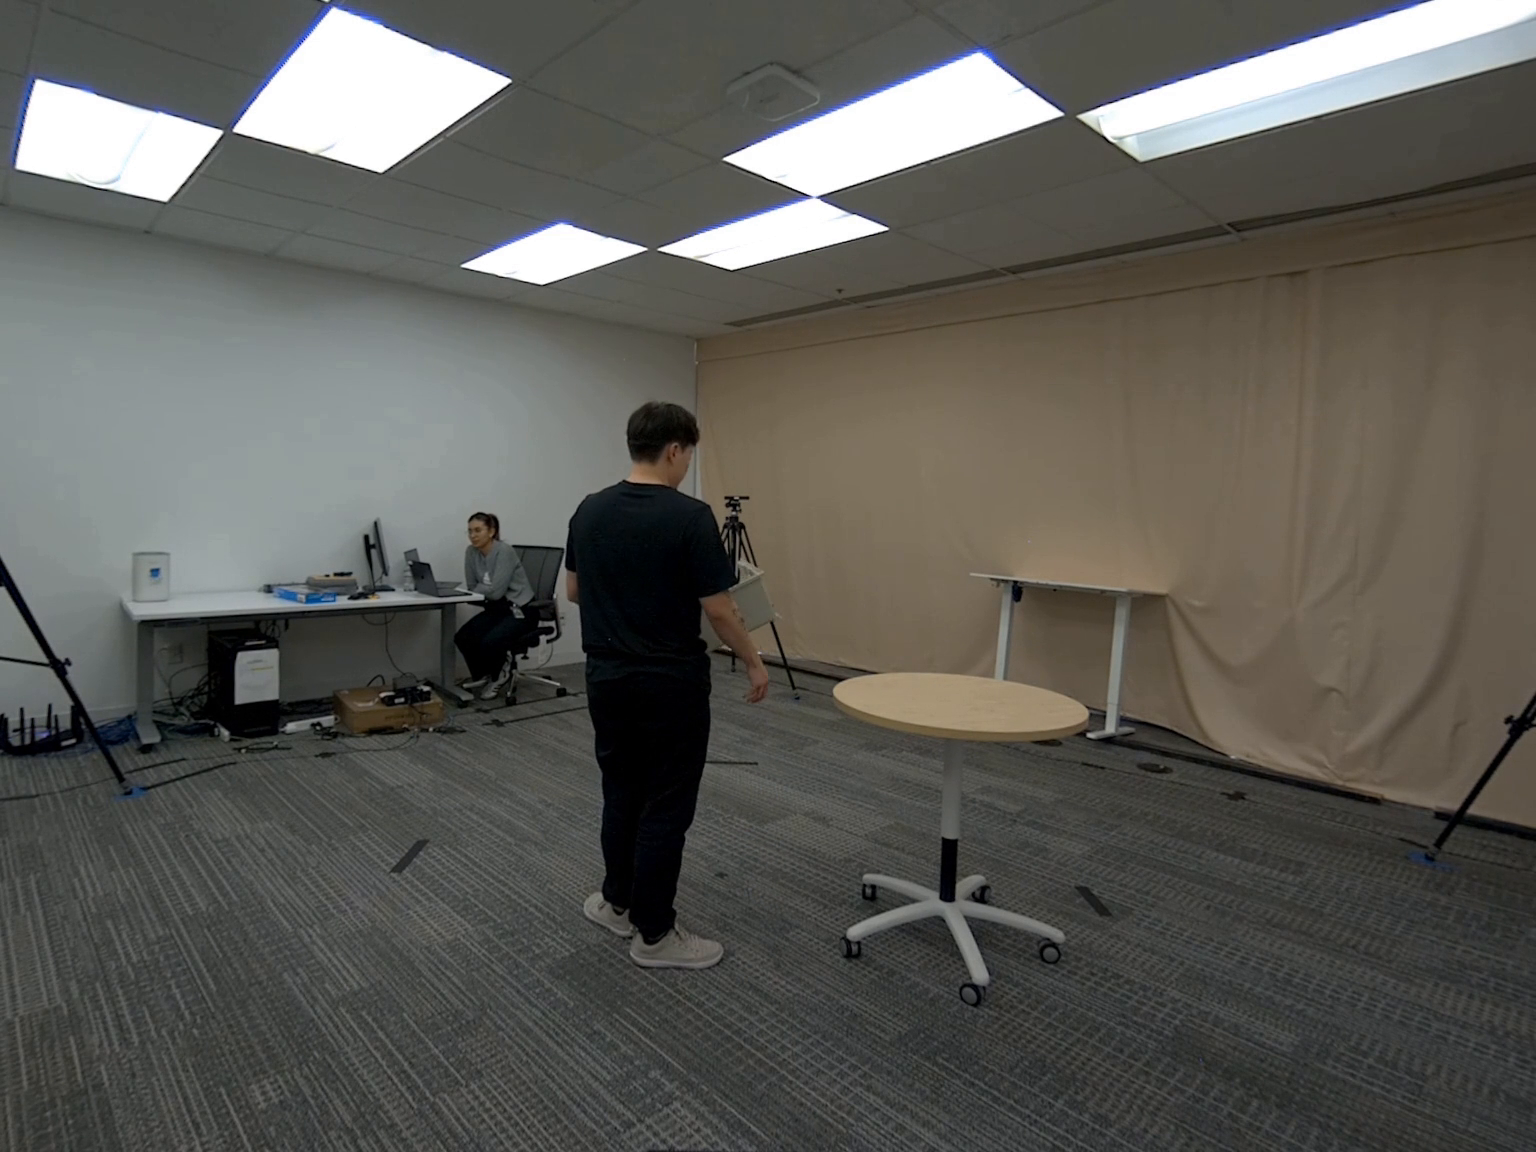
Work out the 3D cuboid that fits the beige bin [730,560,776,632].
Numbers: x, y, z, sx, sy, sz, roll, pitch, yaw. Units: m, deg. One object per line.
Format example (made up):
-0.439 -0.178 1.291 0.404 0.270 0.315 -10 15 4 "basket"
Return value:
-0.217 0.127 2.981 0.421 0.186 0.384 -25 15 -9 "beige bin"
